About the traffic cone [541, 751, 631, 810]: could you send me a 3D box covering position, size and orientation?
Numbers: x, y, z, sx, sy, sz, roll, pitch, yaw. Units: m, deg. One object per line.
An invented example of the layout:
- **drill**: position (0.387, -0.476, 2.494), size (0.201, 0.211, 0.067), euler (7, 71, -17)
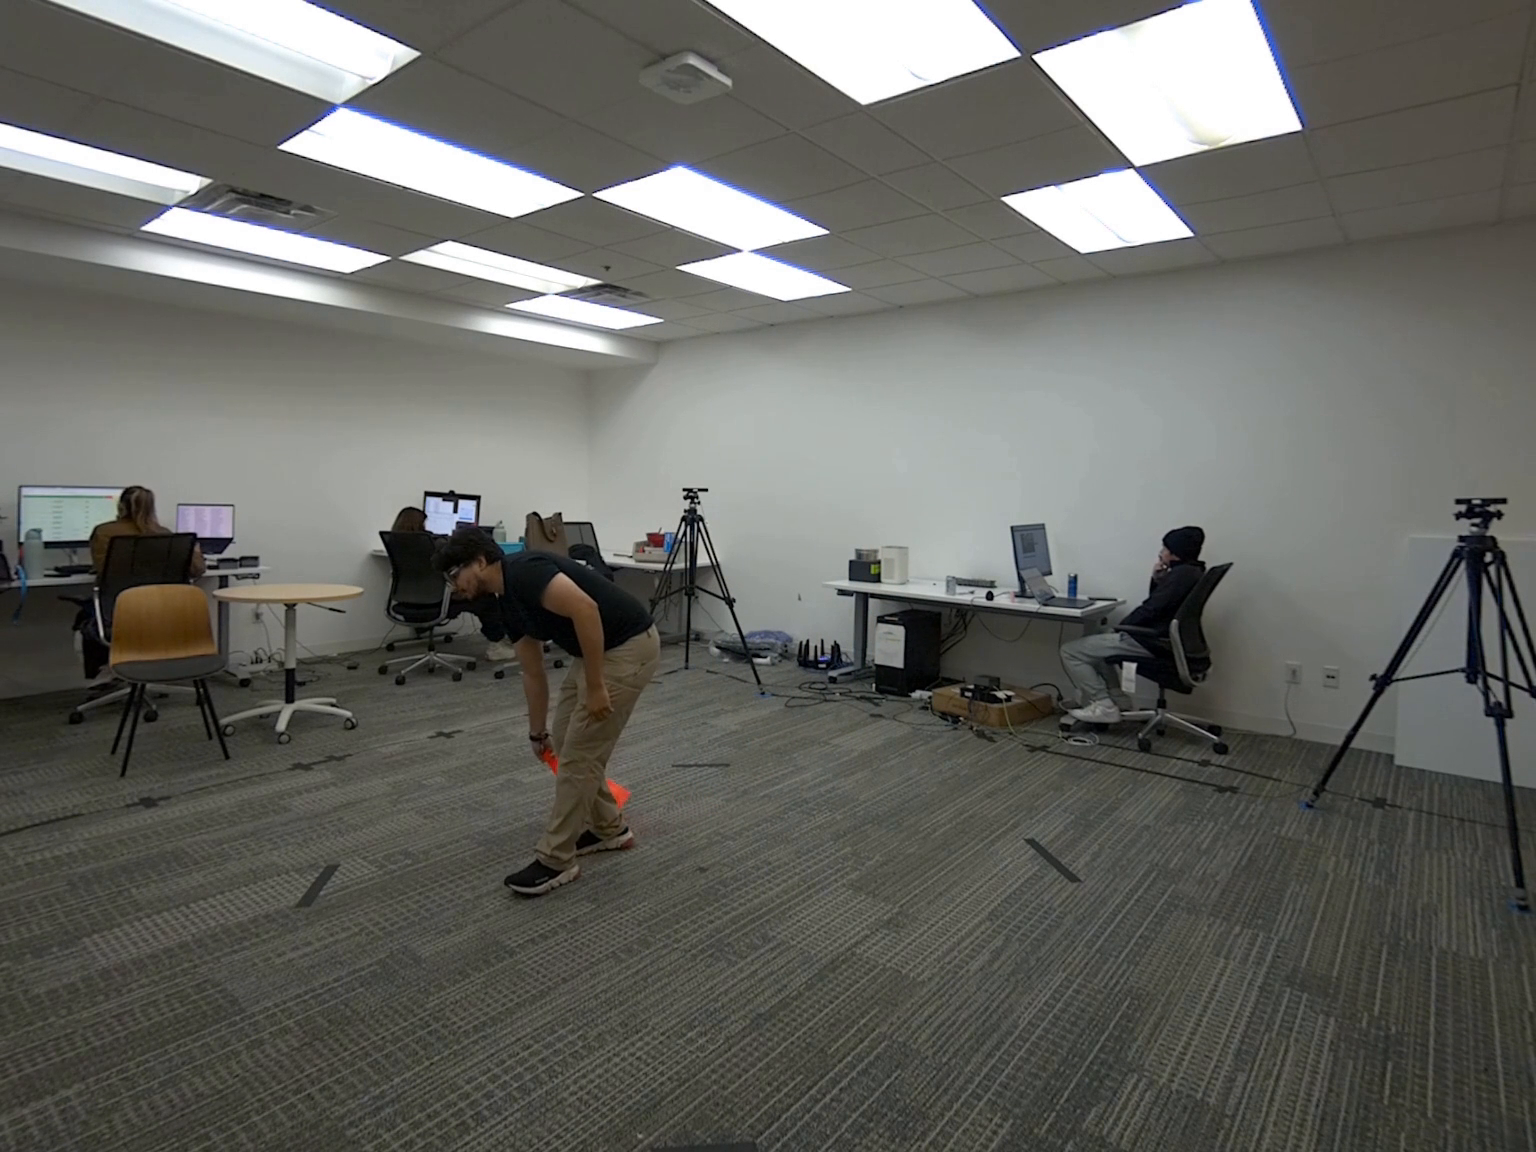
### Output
- **traffic cone**: position (-0.788, 0.826, 3.438), size (0.210, 0.205, 0.371), euler (4, -40, 52)
